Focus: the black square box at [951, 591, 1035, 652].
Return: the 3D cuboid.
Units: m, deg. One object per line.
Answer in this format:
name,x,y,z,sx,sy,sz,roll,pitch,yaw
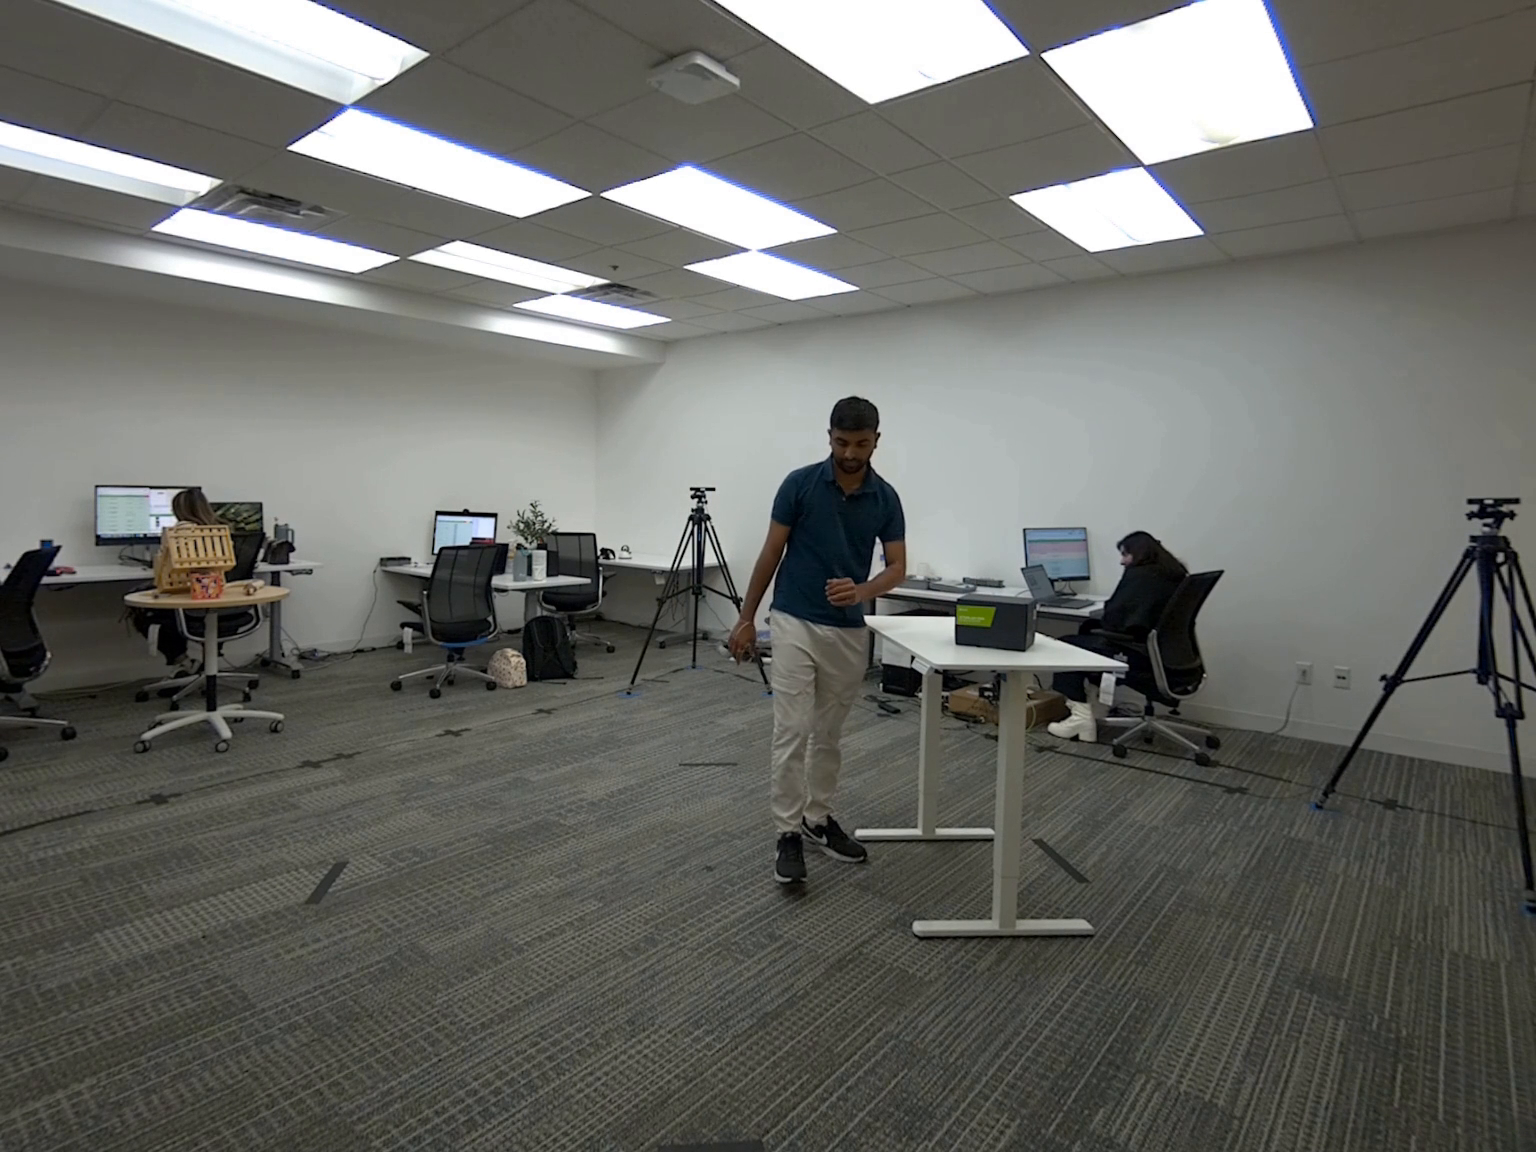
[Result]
black square box,0.769,0.149,2.877,0.234,0.155,0.212,4,5,26
